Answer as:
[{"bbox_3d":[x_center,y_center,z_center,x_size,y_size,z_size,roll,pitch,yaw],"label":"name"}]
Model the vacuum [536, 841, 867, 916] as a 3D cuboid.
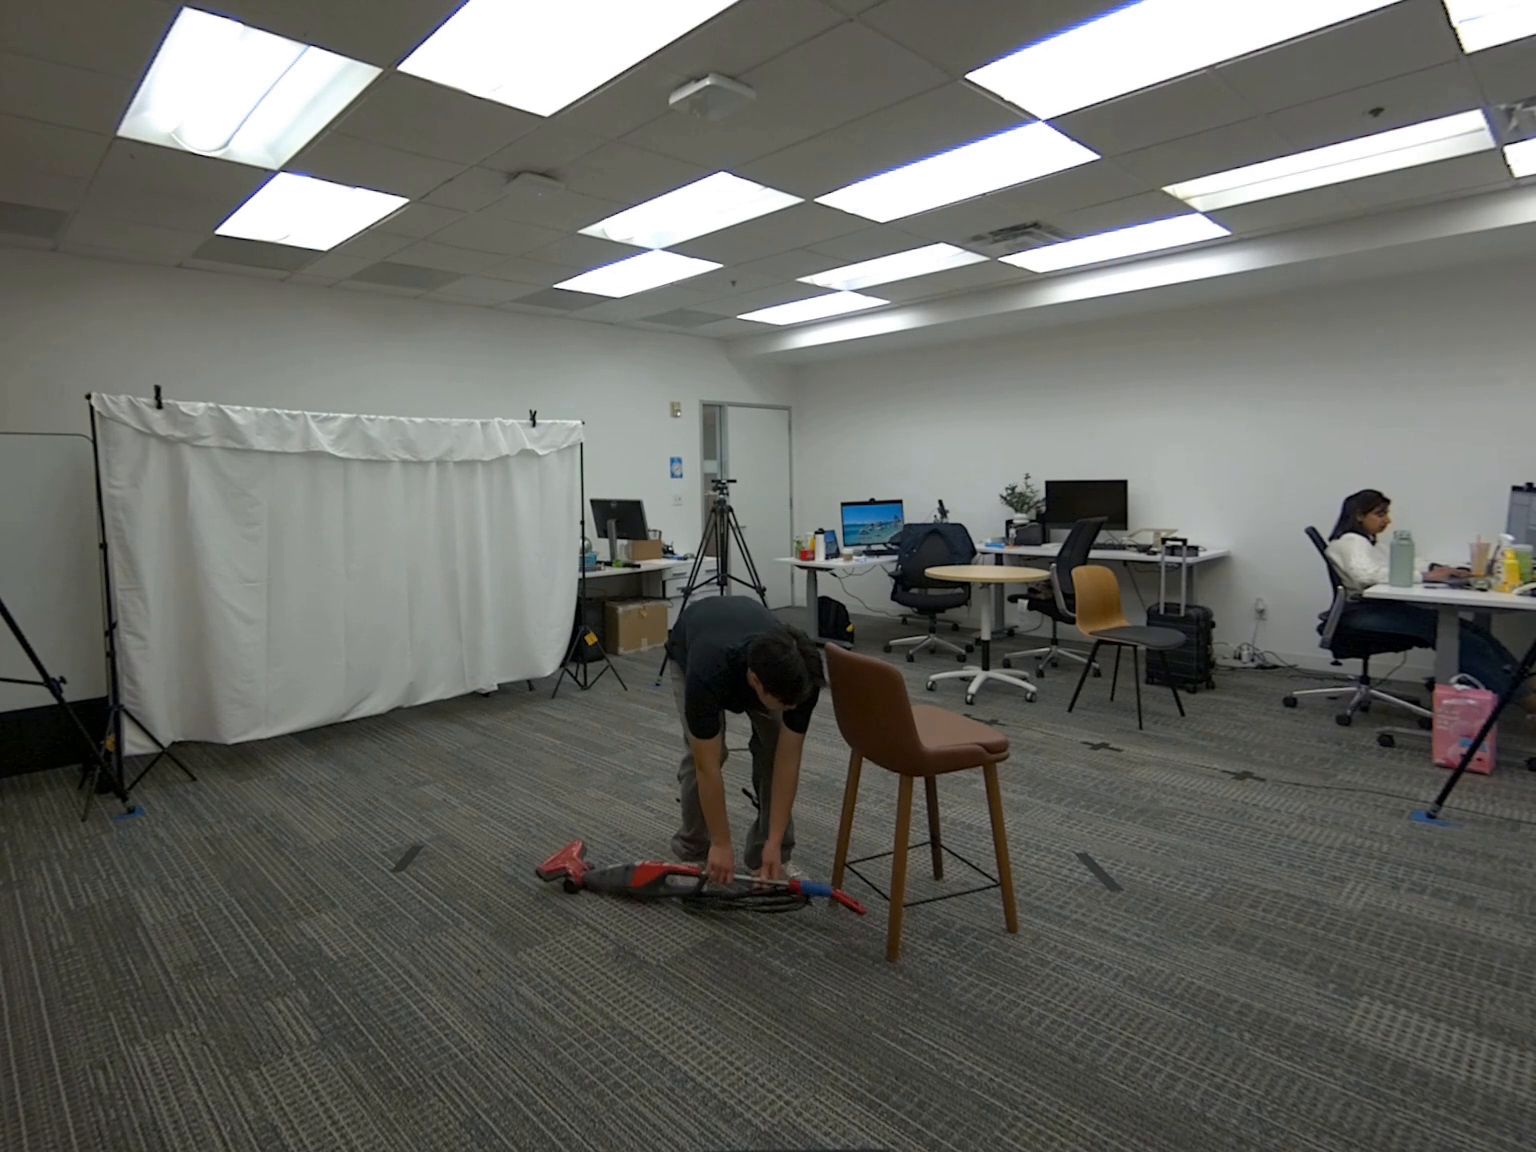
[{"bbox_3d":[-0.220,0.997,2.748,1.073,0.143,0.249,-1,8,26],"label":"vacuum"}]
